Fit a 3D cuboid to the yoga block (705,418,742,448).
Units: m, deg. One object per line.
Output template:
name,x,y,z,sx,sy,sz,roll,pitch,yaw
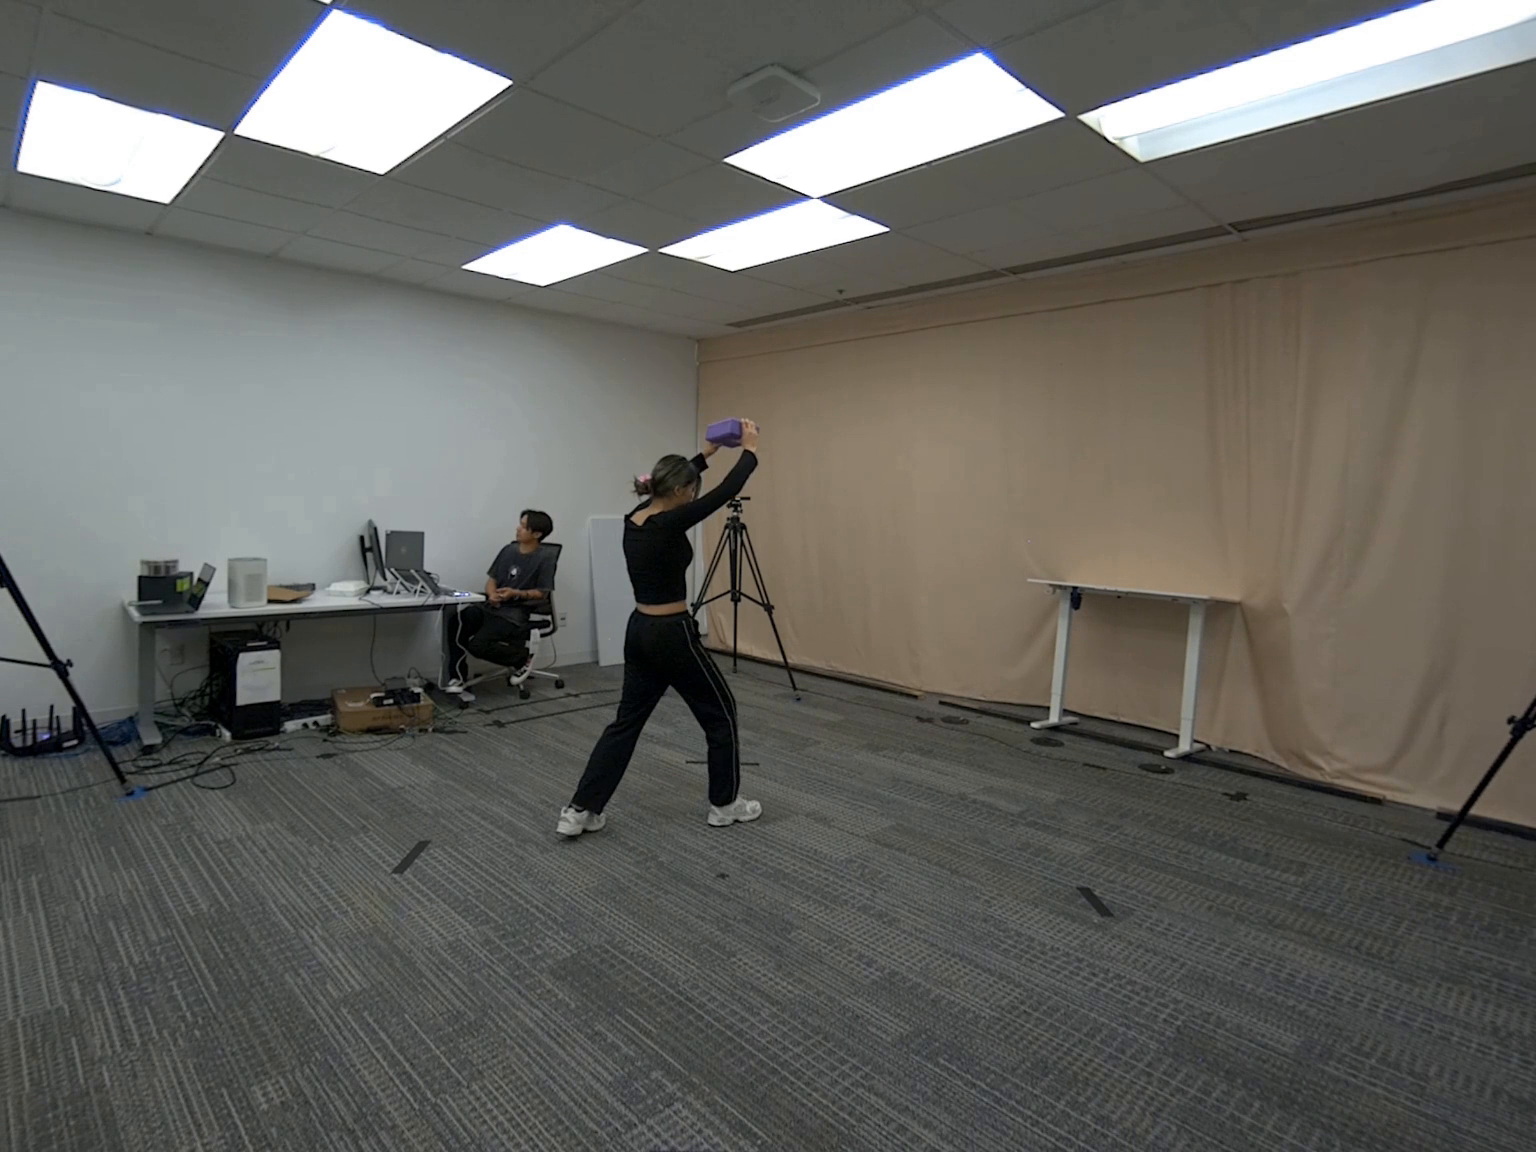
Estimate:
yoga block,-0.176,-0.635,3.732,0.145,0.077,0.234,11,-5,-32
